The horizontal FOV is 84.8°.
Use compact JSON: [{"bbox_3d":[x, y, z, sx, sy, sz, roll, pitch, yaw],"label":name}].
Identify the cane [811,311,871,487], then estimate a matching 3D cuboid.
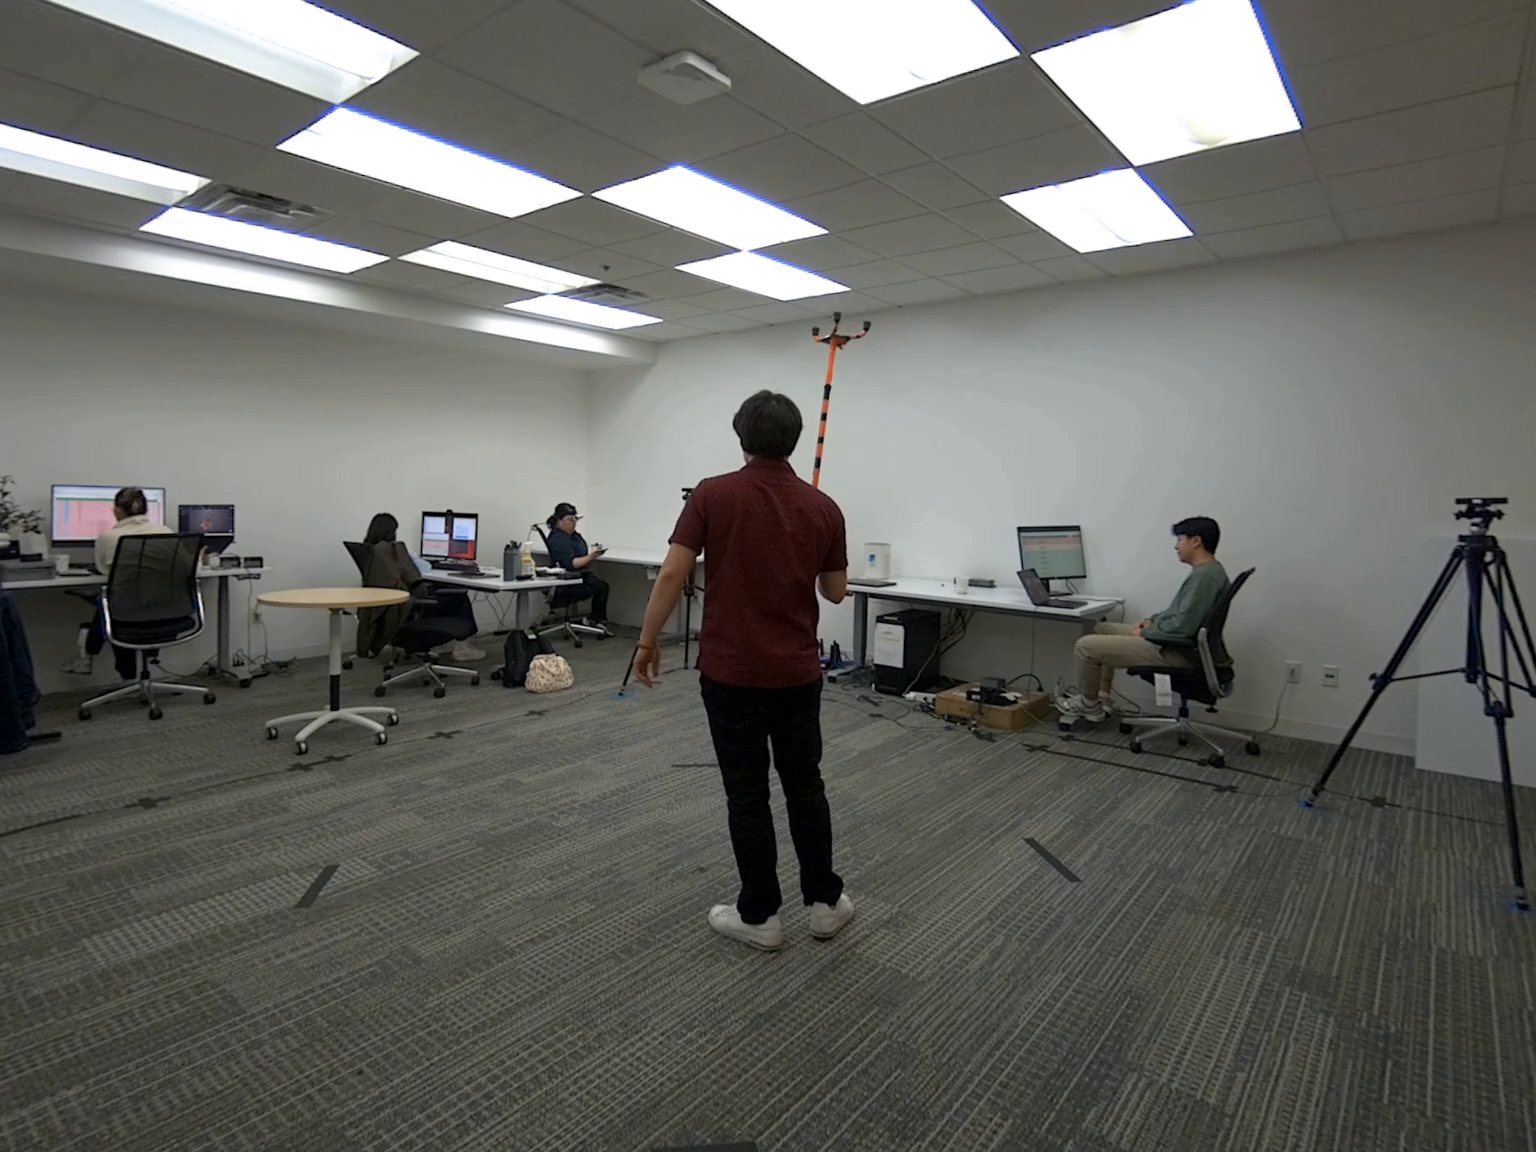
[{"bbox_3d":[0.199,-0.492,3.098,0.148,0.914,0.209,11,-9,-18],"label":"cane"}]
